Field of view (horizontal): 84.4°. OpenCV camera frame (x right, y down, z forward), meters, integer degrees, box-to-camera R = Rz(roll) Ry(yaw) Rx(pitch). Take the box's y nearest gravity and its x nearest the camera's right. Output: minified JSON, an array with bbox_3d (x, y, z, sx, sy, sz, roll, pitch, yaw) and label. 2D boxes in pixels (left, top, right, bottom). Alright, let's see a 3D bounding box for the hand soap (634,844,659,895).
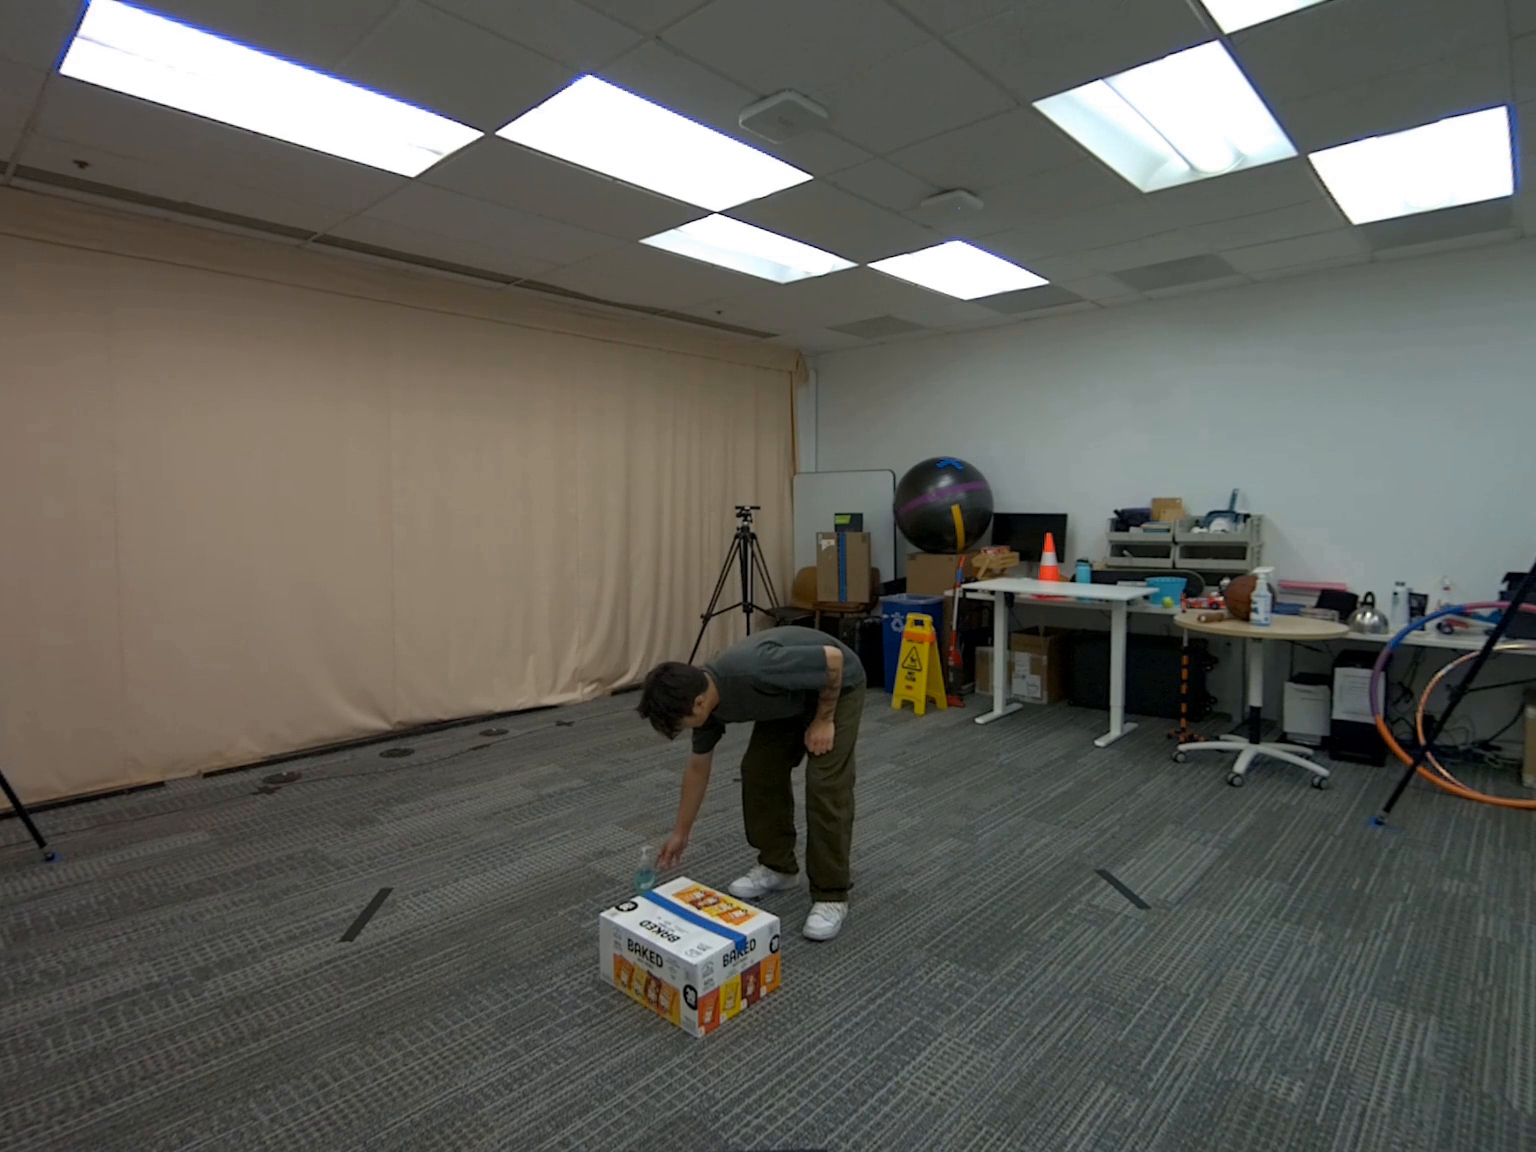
[{"bbox_3d":[-0.442,1.070,3.037,0.082,0.168,0.044,-2,0,-24],"label":"hand soap"}]
